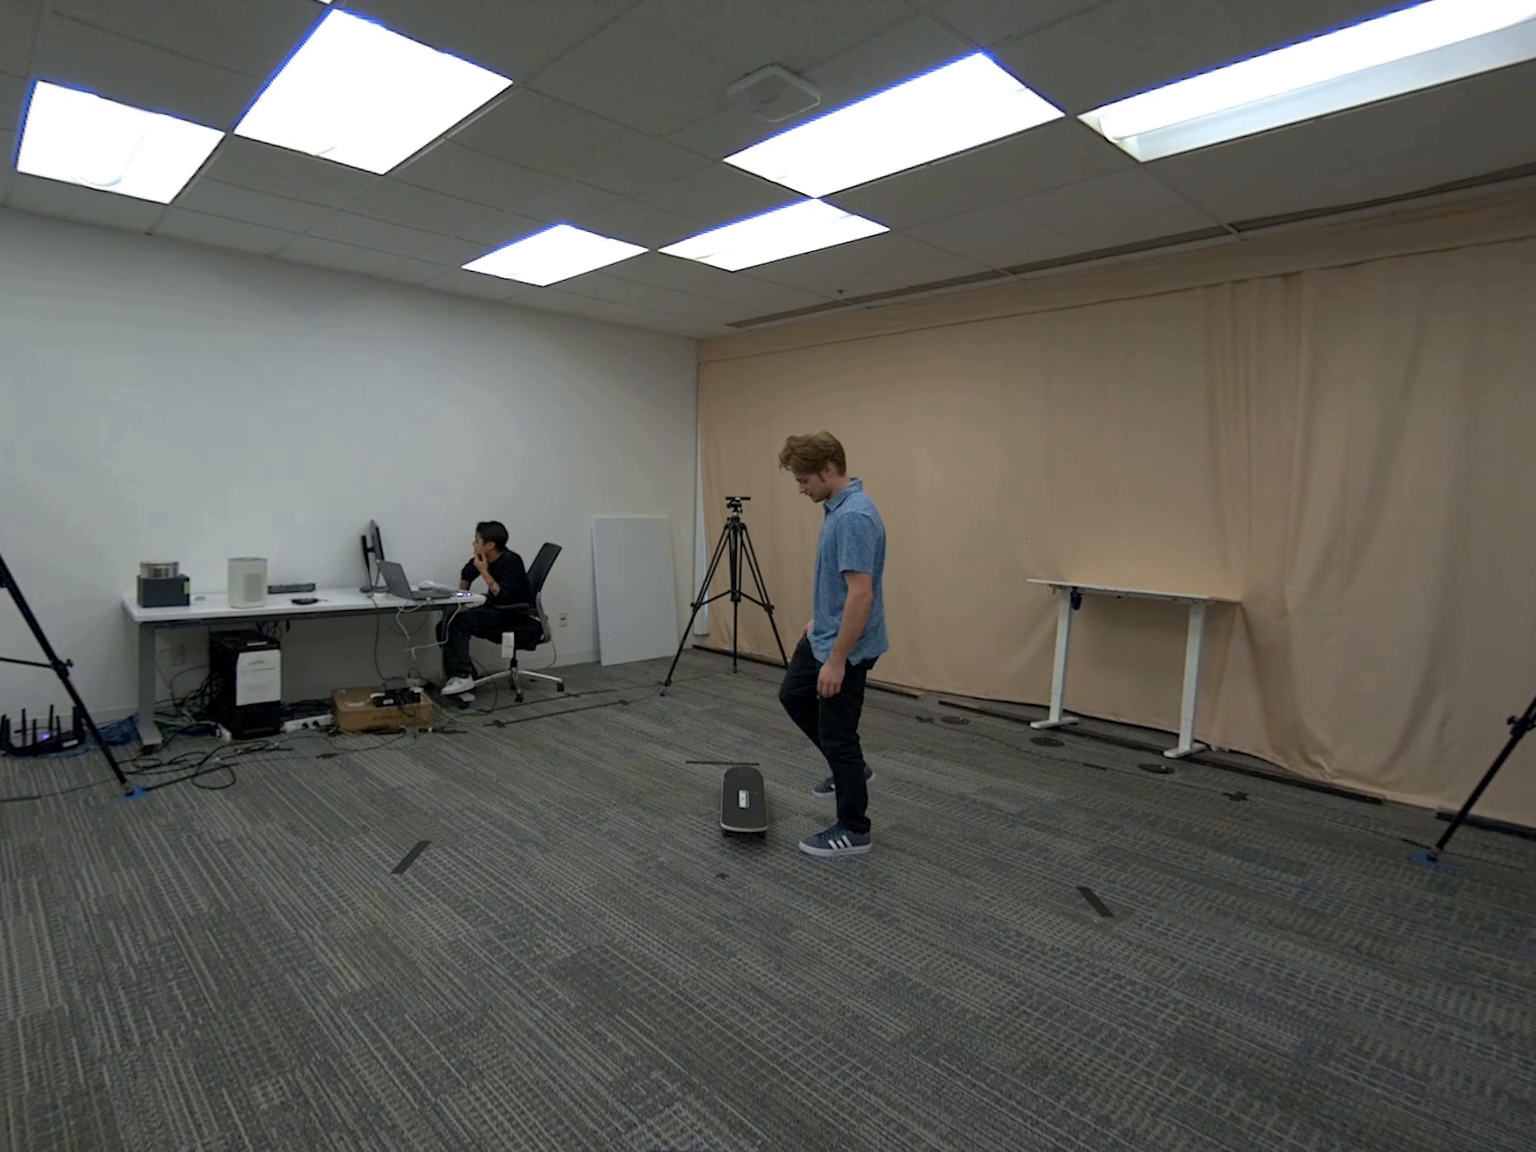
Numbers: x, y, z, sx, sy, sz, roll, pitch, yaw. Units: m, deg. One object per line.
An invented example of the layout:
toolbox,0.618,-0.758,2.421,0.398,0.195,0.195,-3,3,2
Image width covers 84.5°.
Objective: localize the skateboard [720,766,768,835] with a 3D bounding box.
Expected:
skateboard,-0.113,1.001,3.667,0.193,0.110,0.788,1,5,-2
